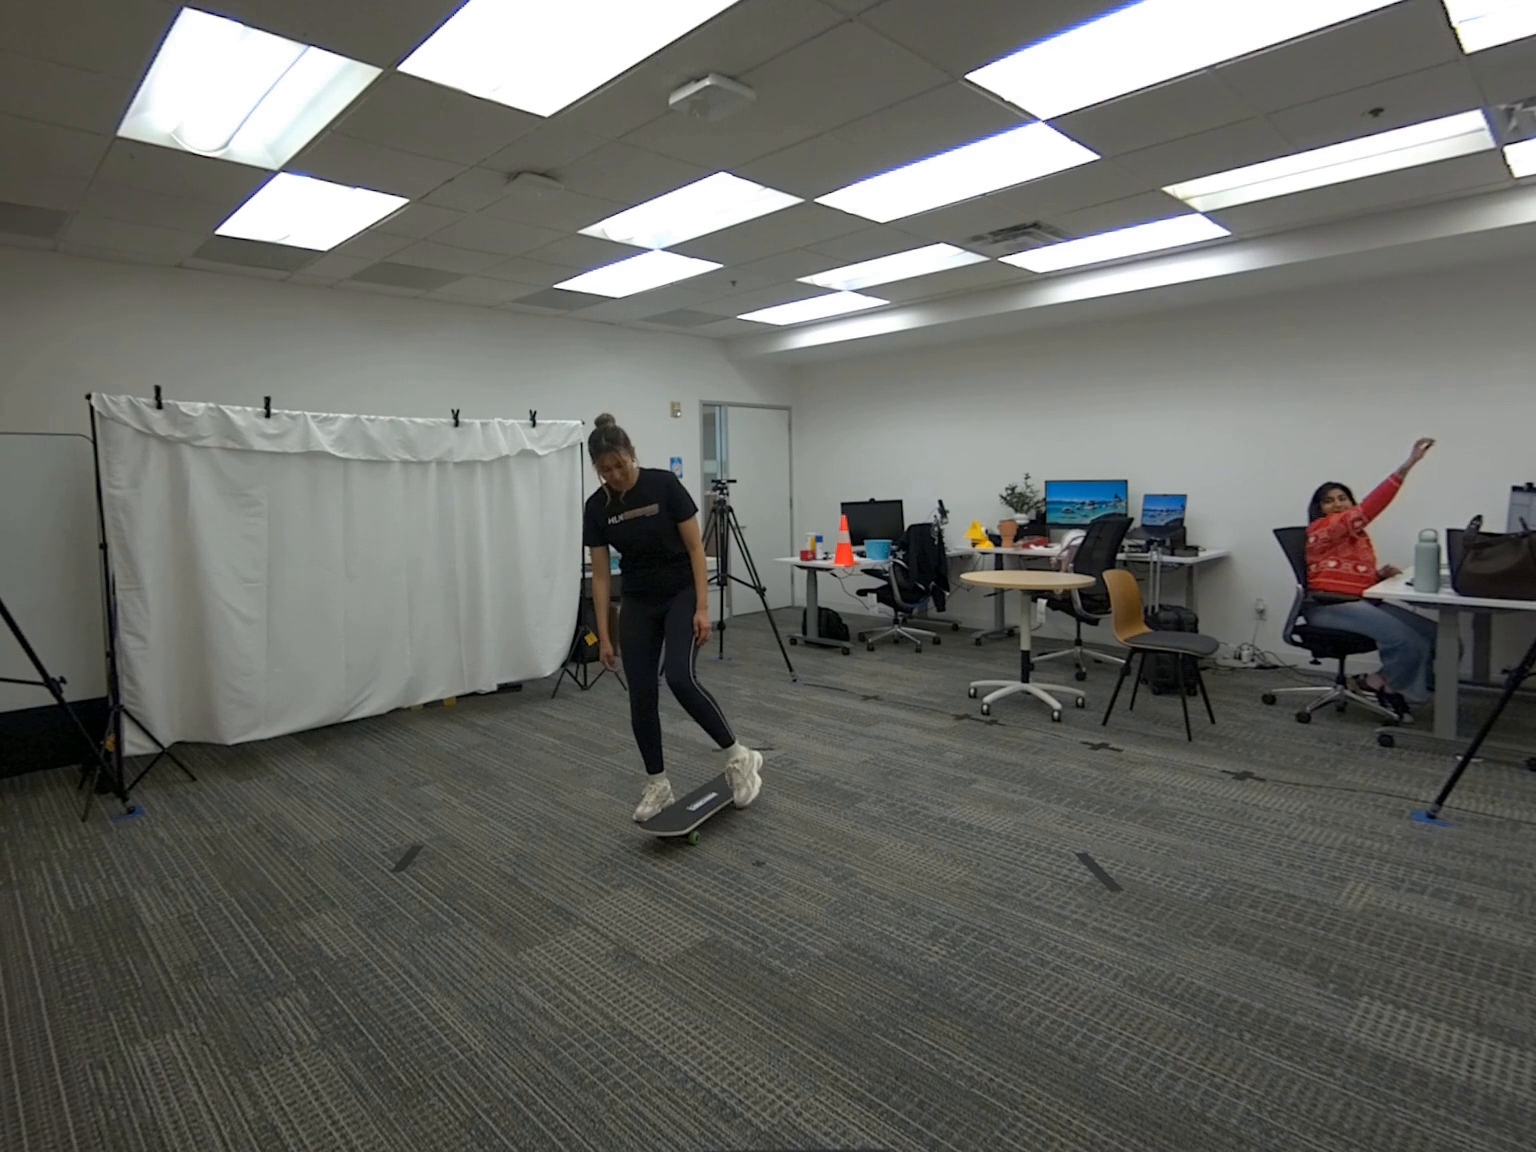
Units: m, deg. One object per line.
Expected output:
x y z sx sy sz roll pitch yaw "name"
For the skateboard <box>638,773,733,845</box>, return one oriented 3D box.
-0.267 0.948 3.495 0.198 0.110 0.770 0 6 26 "skateboard"
